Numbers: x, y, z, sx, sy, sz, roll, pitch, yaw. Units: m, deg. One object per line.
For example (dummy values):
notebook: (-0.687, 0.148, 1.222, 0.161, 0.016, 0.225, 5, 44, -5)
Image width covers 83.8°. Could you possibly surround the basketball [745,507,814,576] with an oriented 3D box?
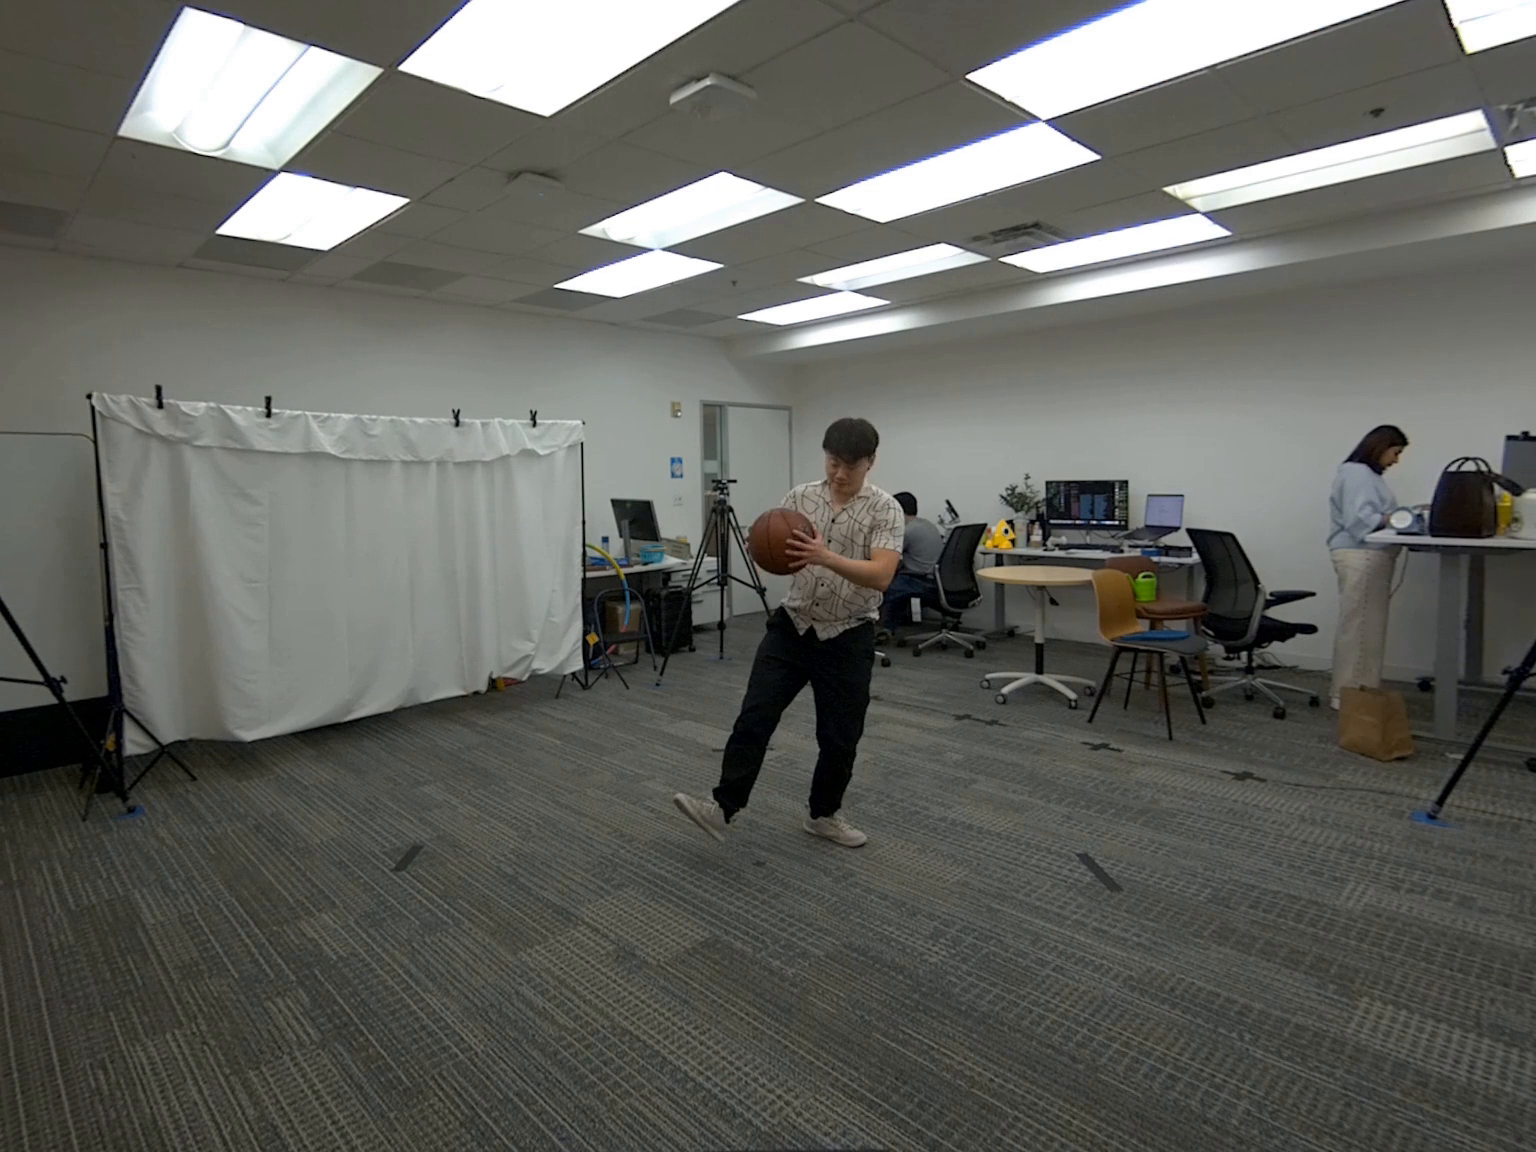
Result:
basketball: (0.051, -0.105, 2.997, 0.236, 0.235, 0.237, -1, 5, -2)
